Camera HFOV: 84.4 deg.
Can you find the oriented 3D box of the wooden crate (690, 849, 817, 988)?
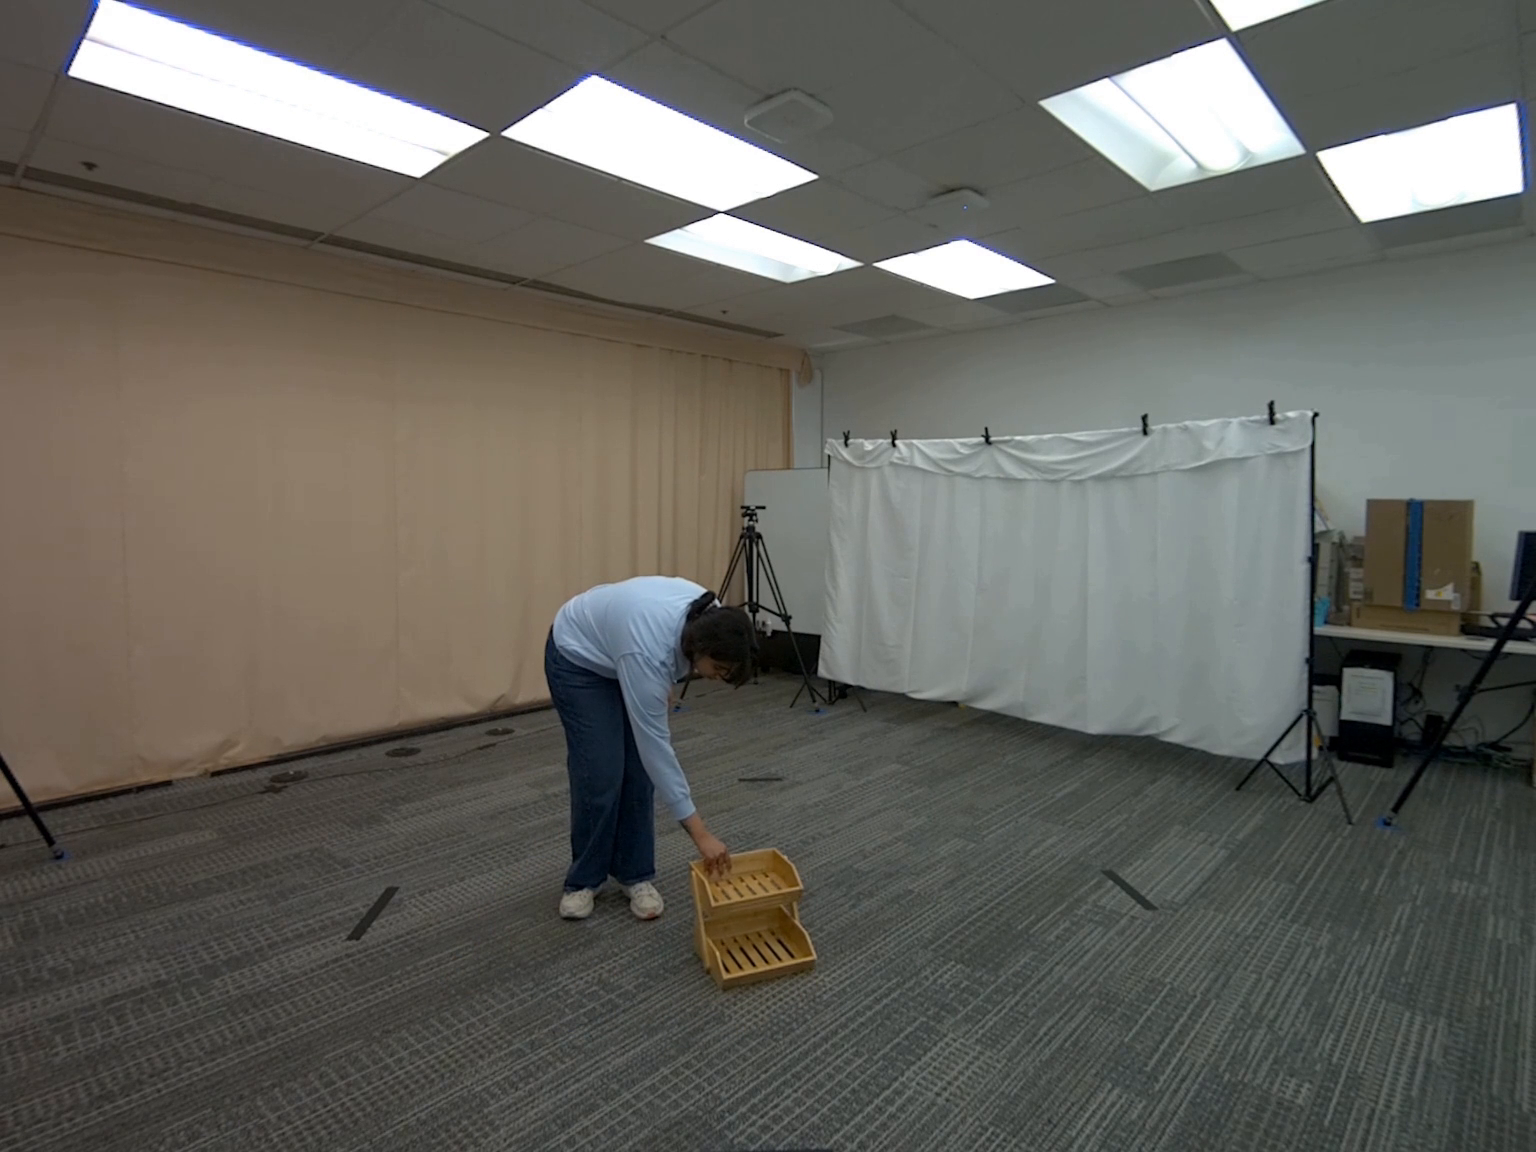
[{"bbox_3d":[-0.044,1.040,2.575,0.317,0.272,0.310,-2,6,-24],"label":"wooden crate"}]
